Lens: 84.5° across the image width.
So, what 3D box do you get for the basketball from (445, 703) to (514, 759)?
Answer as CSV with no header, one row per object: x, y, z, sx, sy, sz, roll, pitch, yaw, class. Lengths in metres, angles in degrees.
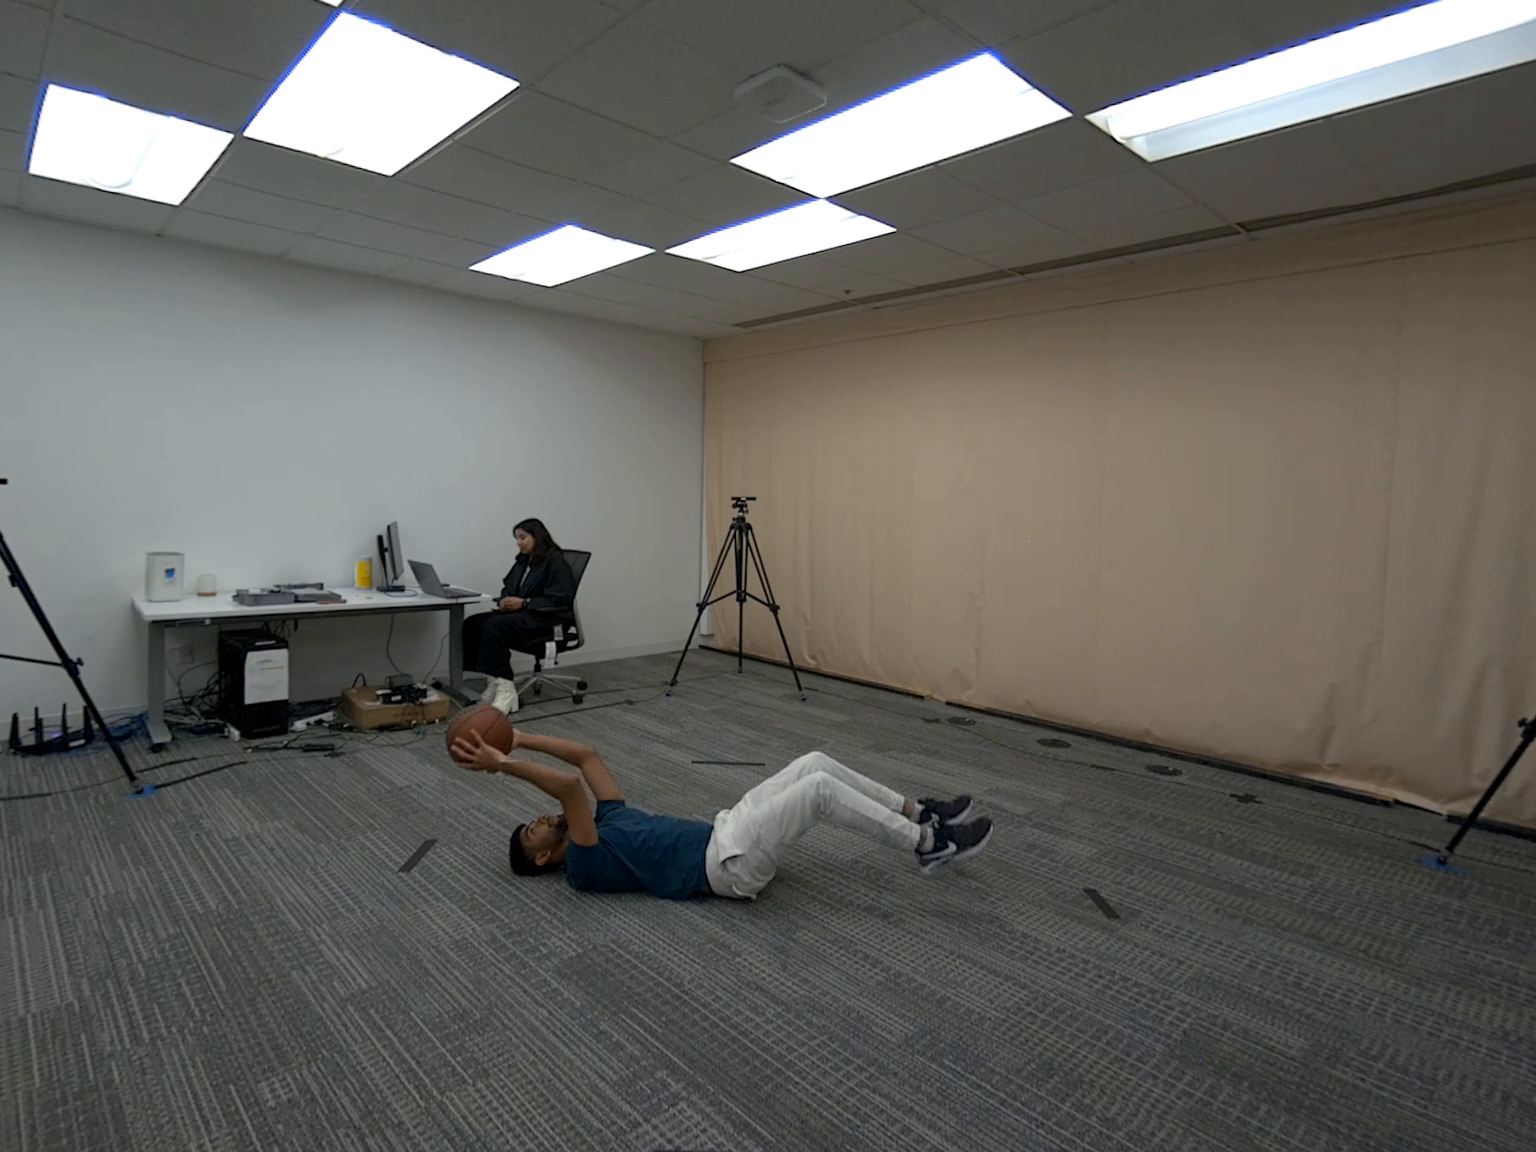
-1.050,0.587,3.076,0.236,0.235,0.237,1,4,-1,basketball
